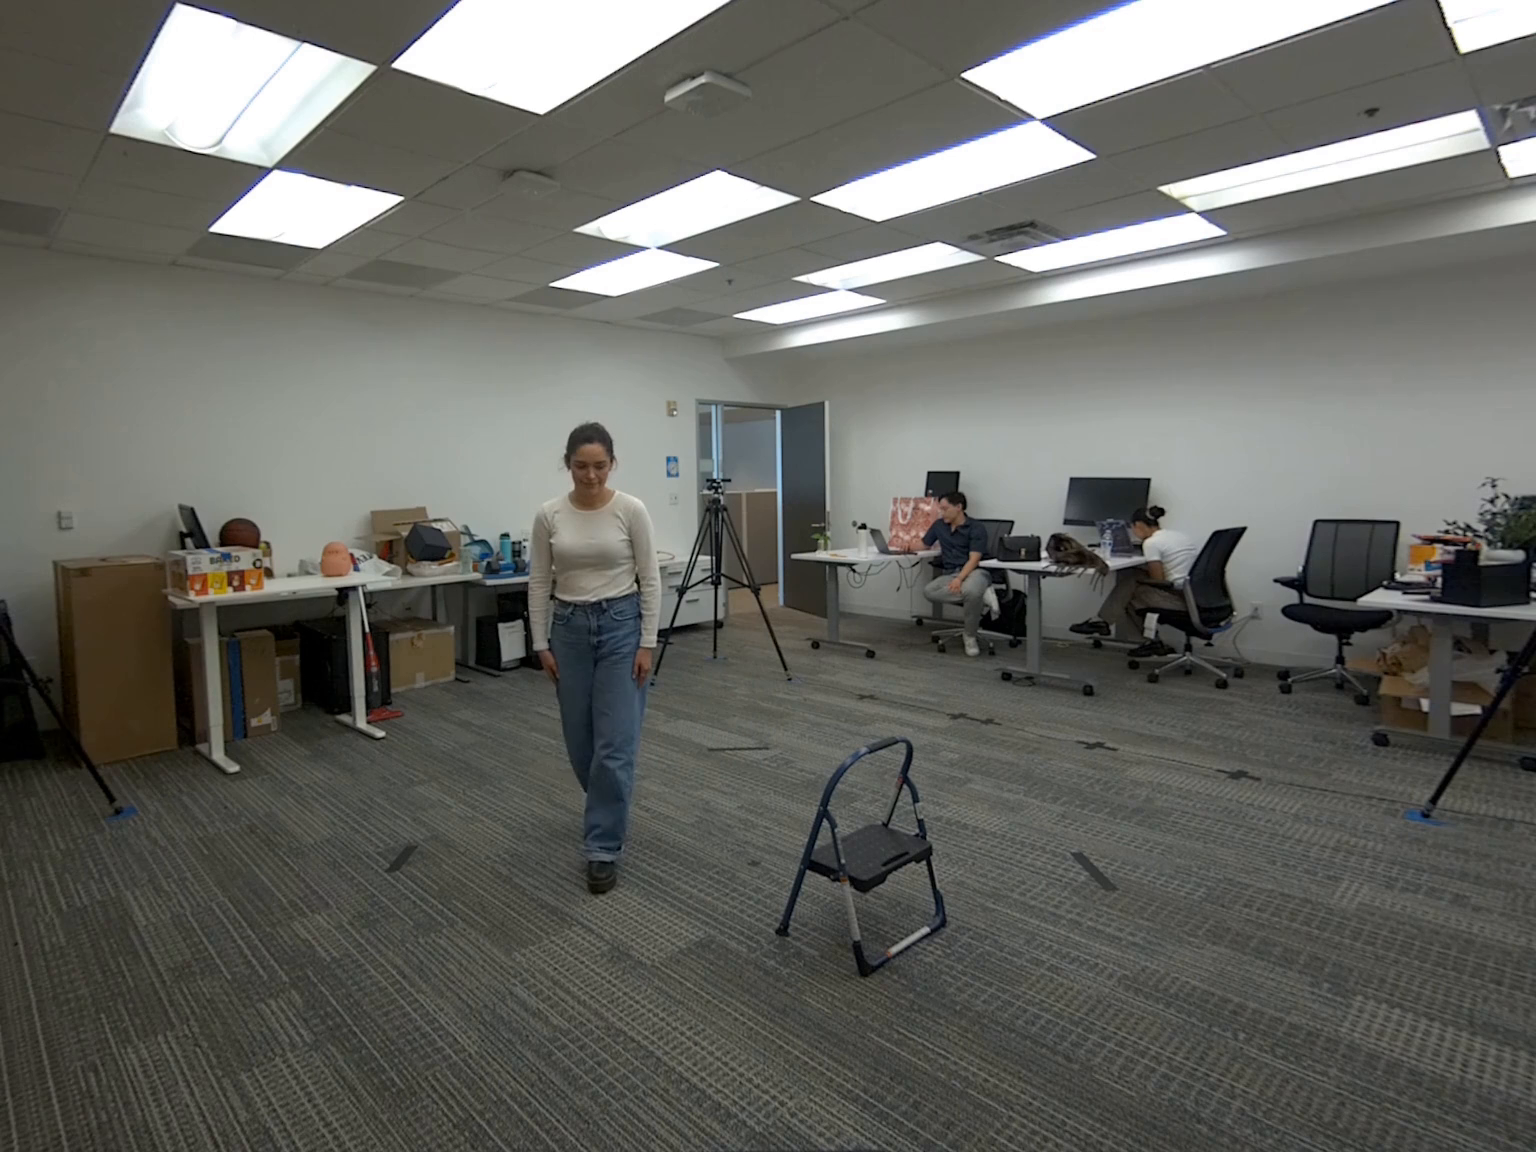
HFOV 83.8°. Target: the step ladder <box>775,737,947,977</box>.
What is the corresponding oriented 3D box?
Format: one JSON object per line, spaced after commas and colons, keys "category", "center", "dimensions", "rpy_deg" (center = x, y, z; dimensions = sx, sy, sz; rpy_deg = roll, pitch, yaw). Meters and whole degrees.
{"category": "step ladder", "center": [0.290, 0.791, 2.625], "dimensions": [0.360, 0.604, 0.419], "rpy_deg": [3, 7, 45]}
